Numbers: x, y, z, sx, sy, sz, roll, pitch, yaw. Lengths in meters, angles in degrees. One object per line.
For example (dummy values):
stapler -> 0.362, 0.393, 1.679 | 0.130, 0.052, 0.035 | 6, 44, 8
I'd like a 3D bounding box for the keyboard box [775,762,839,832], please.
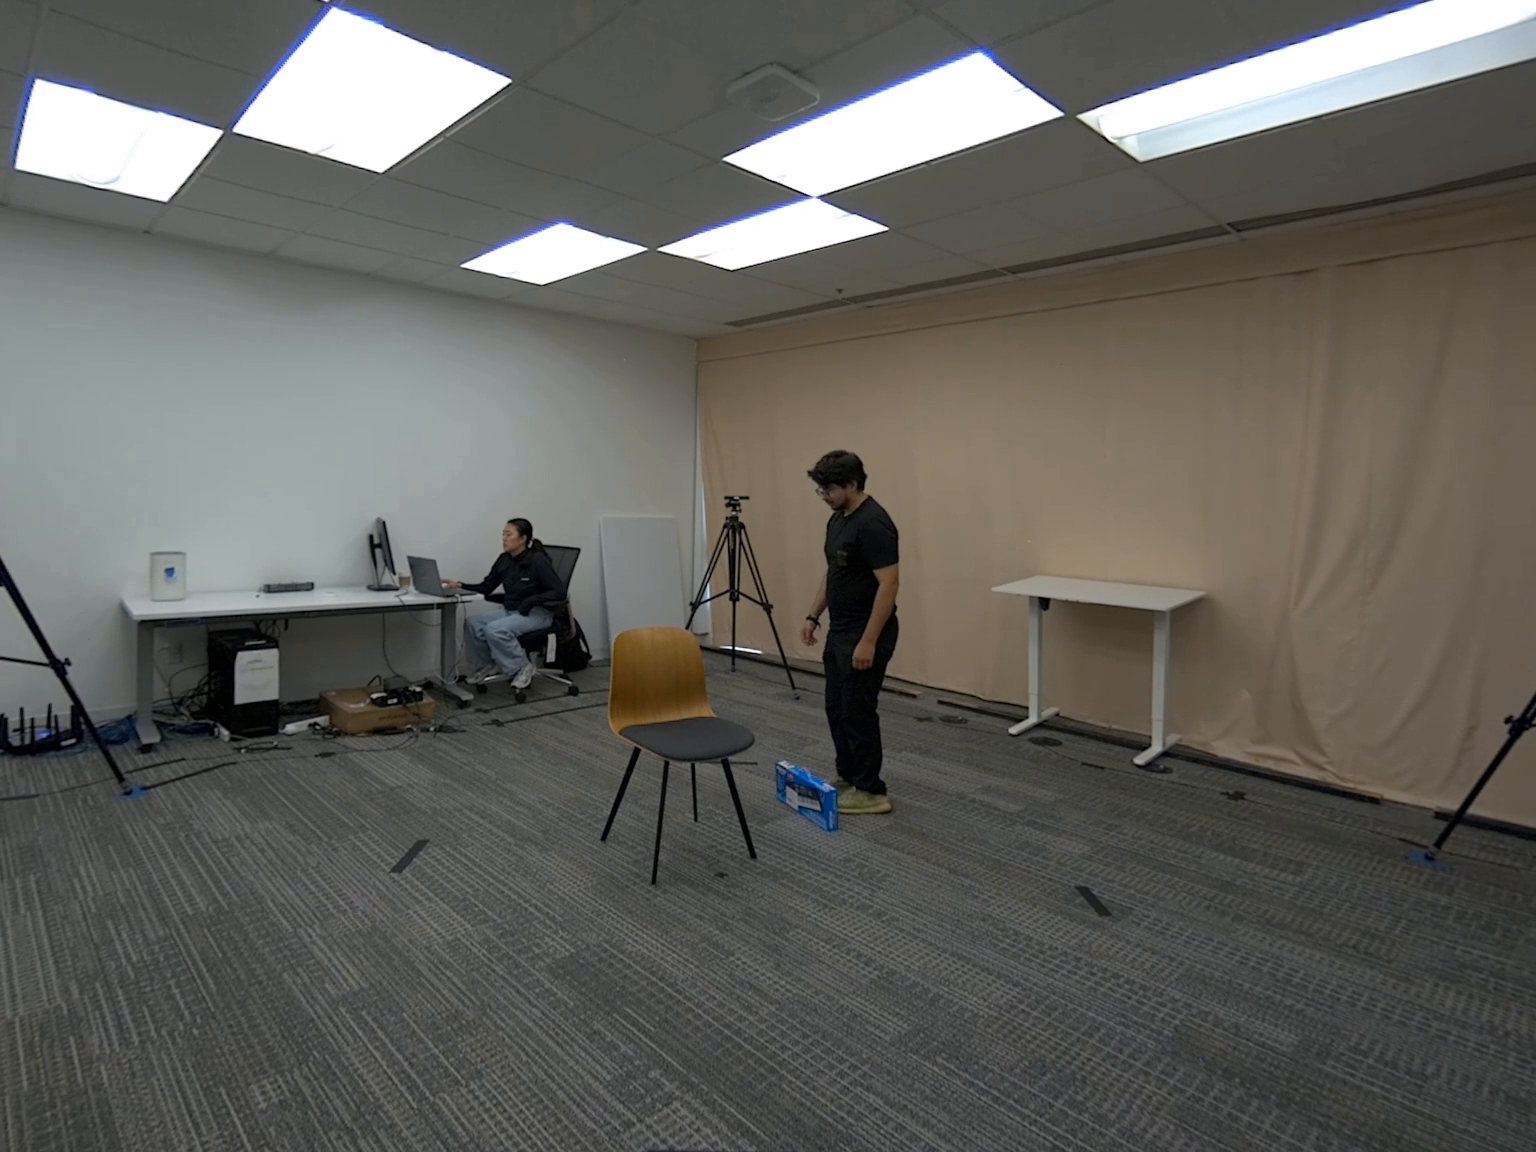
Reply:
keyboard box -> 0.158, 0.973, 3.742 | 0.058, 0.175, 0.446 | -4, 7, -29
